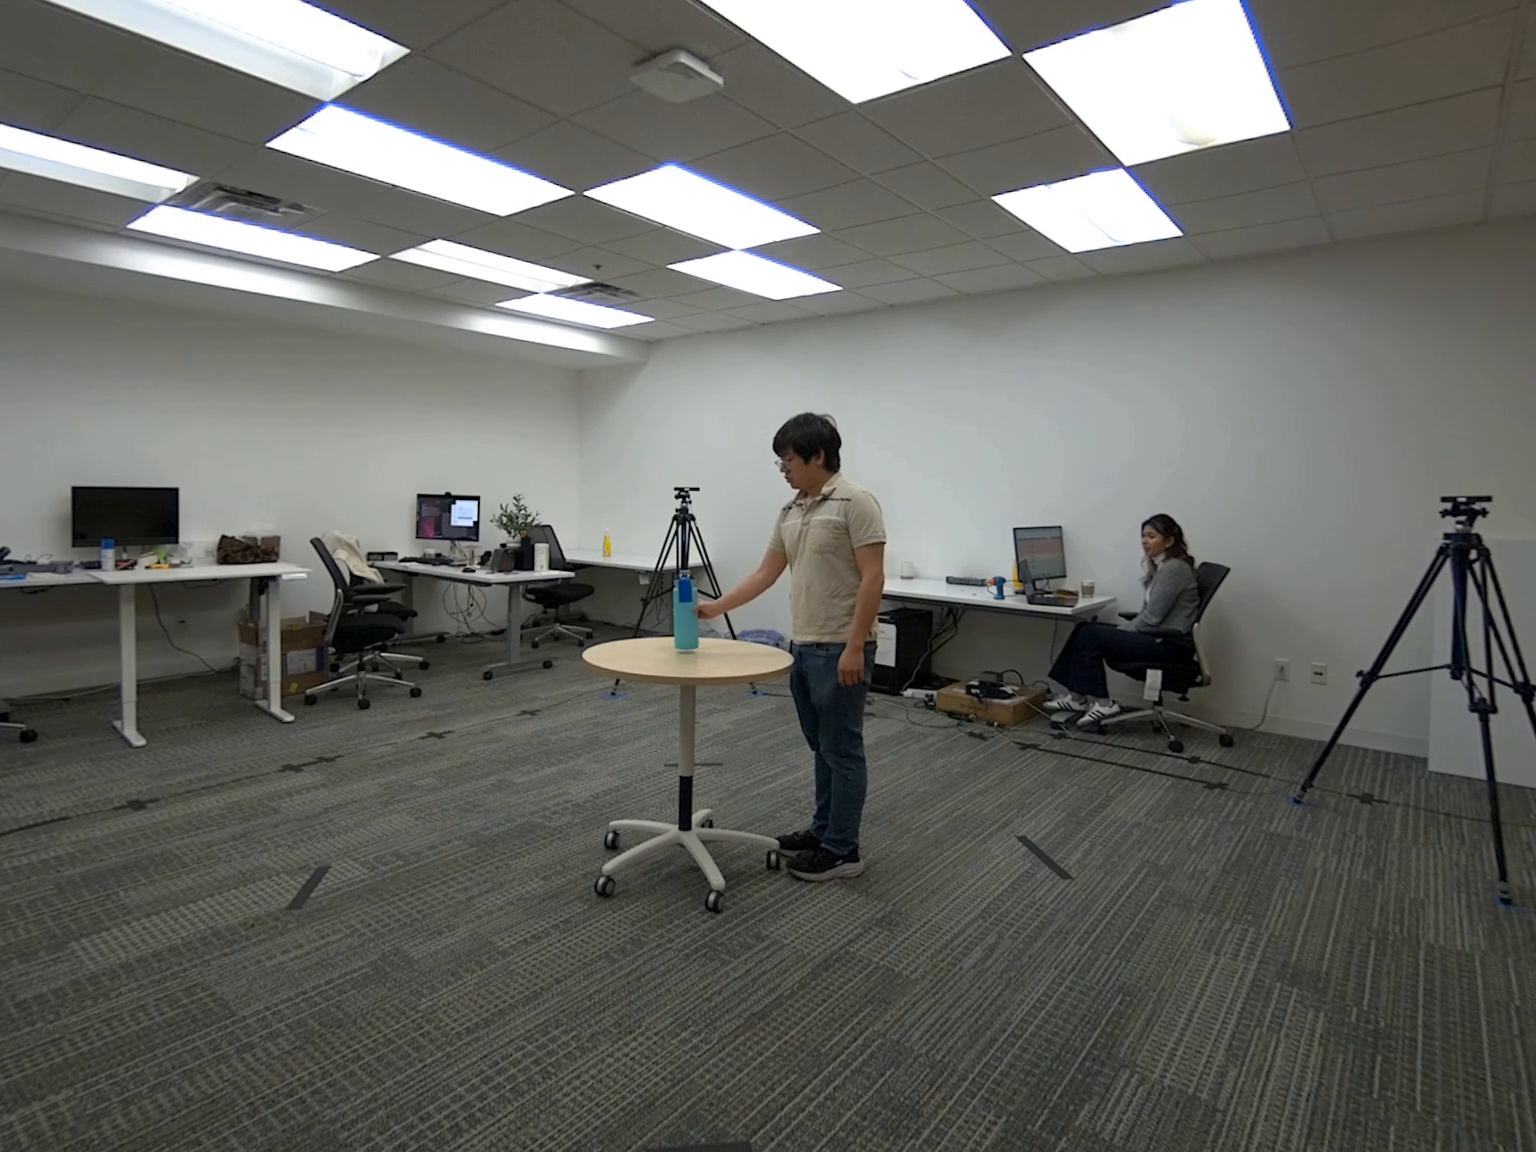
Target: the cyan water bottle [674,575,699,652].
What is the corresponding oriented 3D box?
[{"bbox_3d":[-0.311,0.106,3.127,0.092,0.282,0.093,1,6,-2],"label":"cyan water bottle"}]
